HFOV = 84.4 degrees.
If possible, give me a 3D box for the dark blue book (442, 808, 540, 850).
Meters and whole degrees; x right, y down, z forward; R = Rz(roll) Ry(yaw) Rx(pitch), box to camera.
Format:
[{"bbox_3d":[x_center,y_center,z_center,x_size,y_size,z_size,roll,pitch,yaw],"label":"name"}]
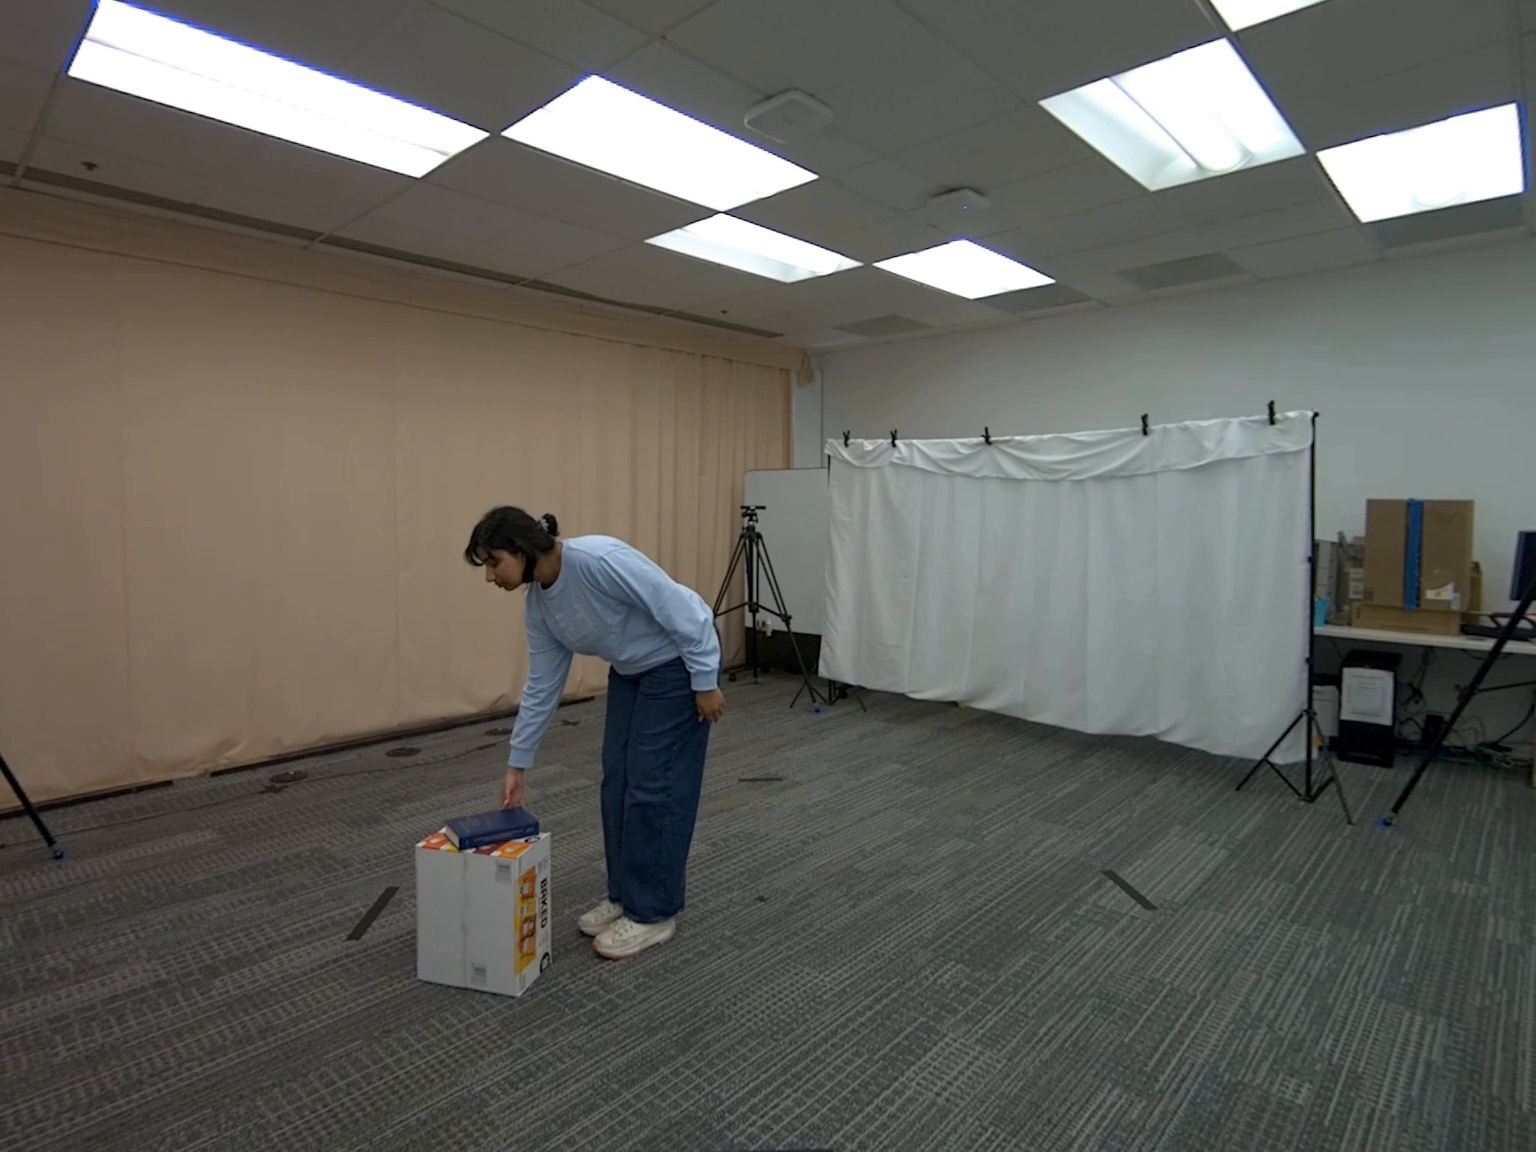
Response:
[{"bbox_3d":[-0.831,0.757,2.545,0.238,0.045,0.168,-2,3,-35],"label":"dark blue book"}]
